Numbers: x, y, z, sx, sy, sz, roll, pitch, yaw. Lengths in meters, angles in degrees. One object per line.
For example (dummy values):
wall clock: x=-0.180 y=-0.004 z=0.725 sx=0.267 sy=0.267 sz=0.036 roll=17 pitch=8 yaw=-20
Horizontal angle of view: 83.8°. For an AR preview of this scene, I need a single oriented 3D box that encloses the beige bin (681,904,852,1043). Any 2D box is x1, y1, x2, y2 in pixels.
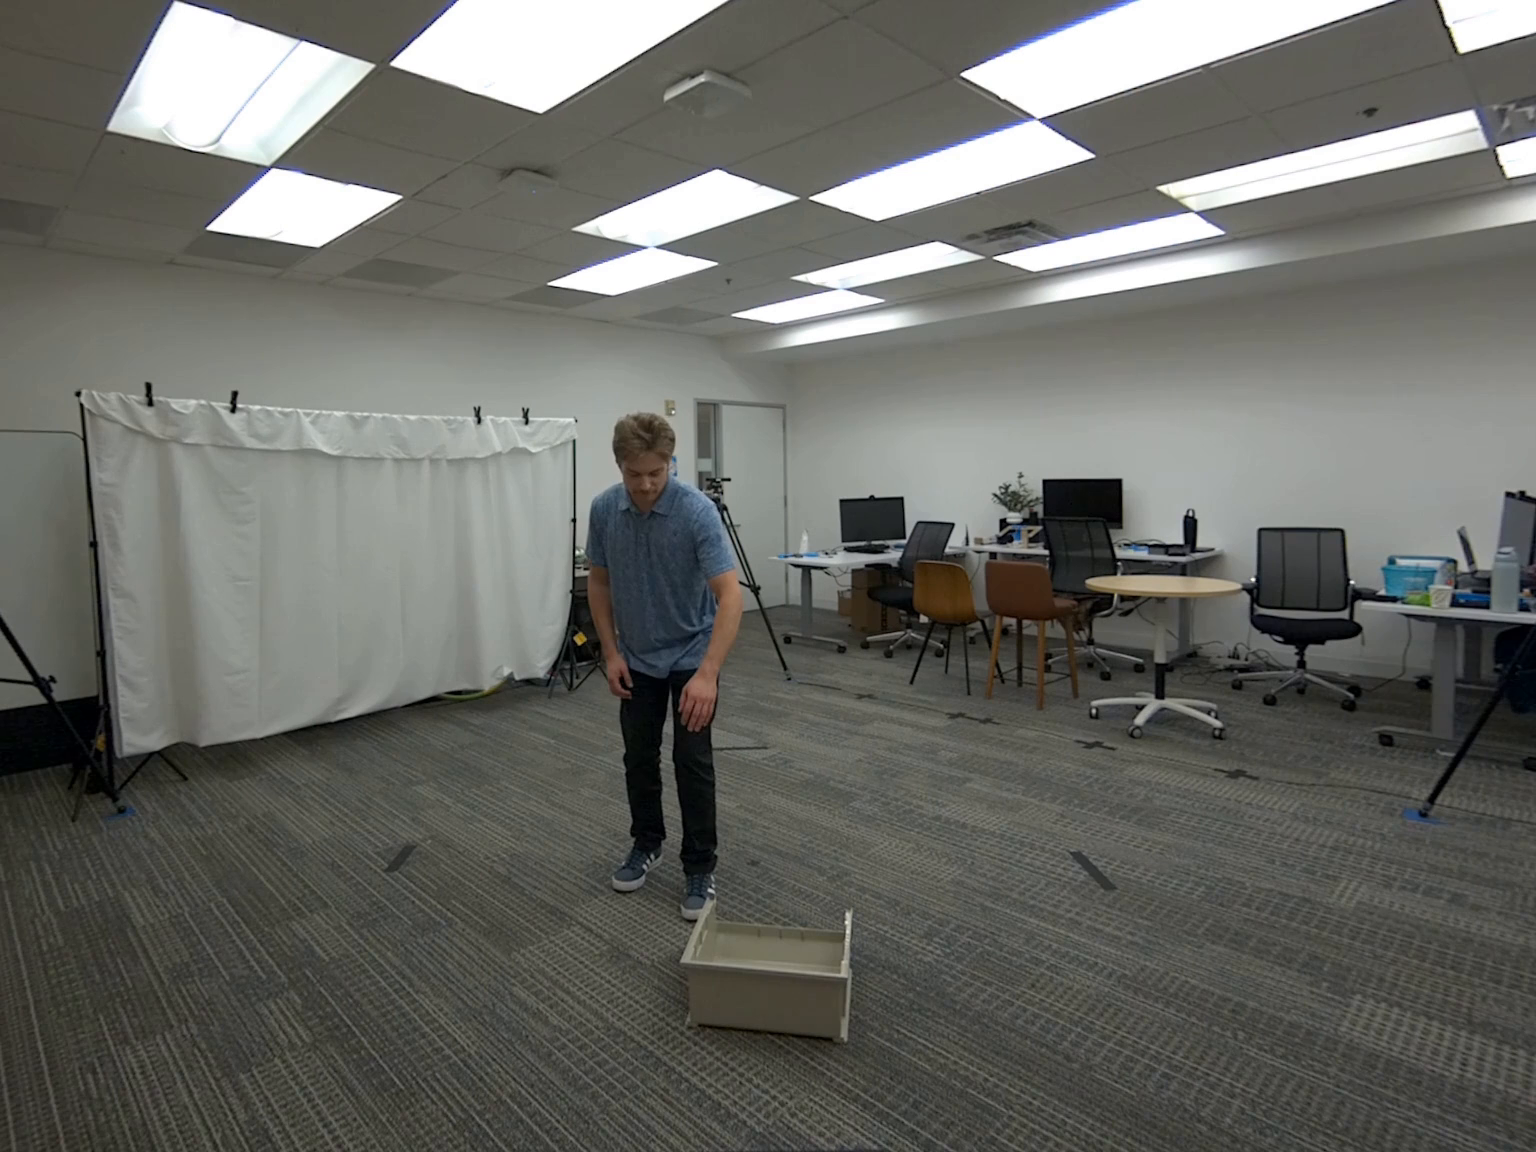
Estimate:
beige bin: x=0.017 y=1.048 z=2.312 sx=0.426 sy=0.188 sz=0.376 roll=1 pitch=7 yaw=9
